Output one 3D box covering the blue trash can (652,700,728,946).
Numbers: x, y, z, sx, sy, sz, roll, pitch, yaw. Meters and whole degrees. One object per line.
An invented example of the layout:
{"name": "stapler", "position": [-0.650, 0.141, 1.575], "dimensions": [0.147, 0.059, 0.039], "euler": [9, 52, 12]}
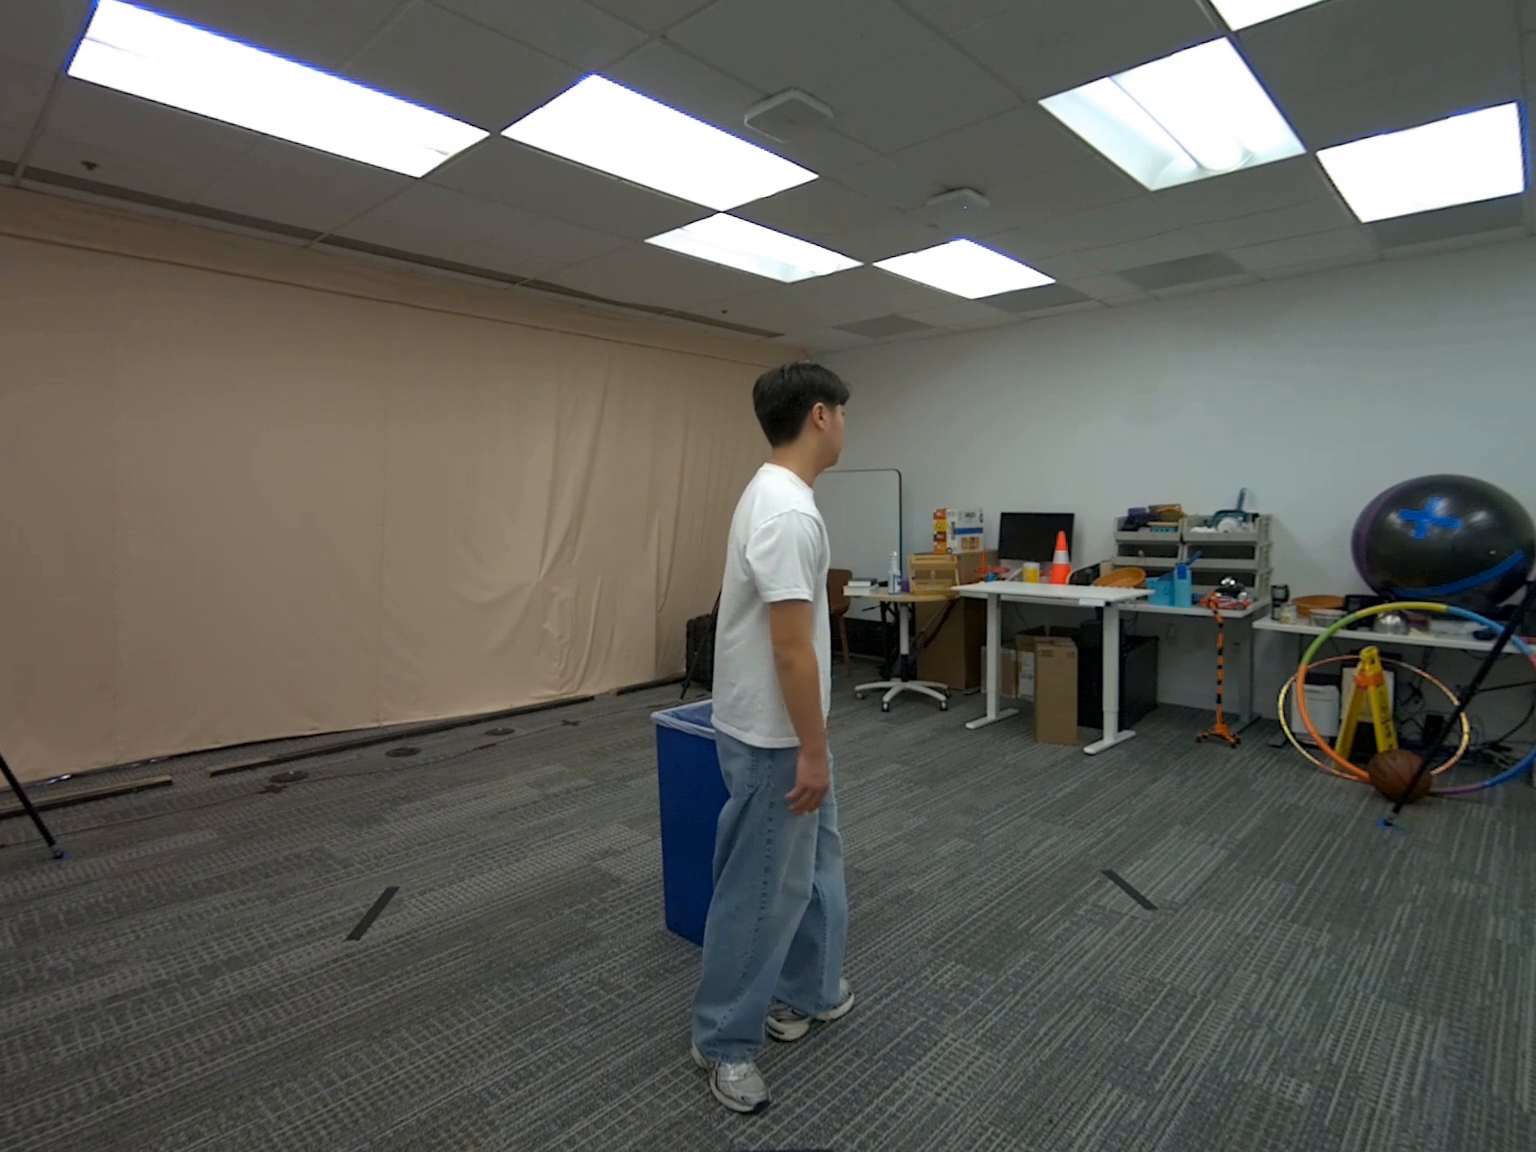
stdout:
{"name": "blue trash can", "position": [-0.140, 0.803, 2.768], "dimensions": [0.386, 0.712, 0.366], "euler": [3, 4, 44]}
